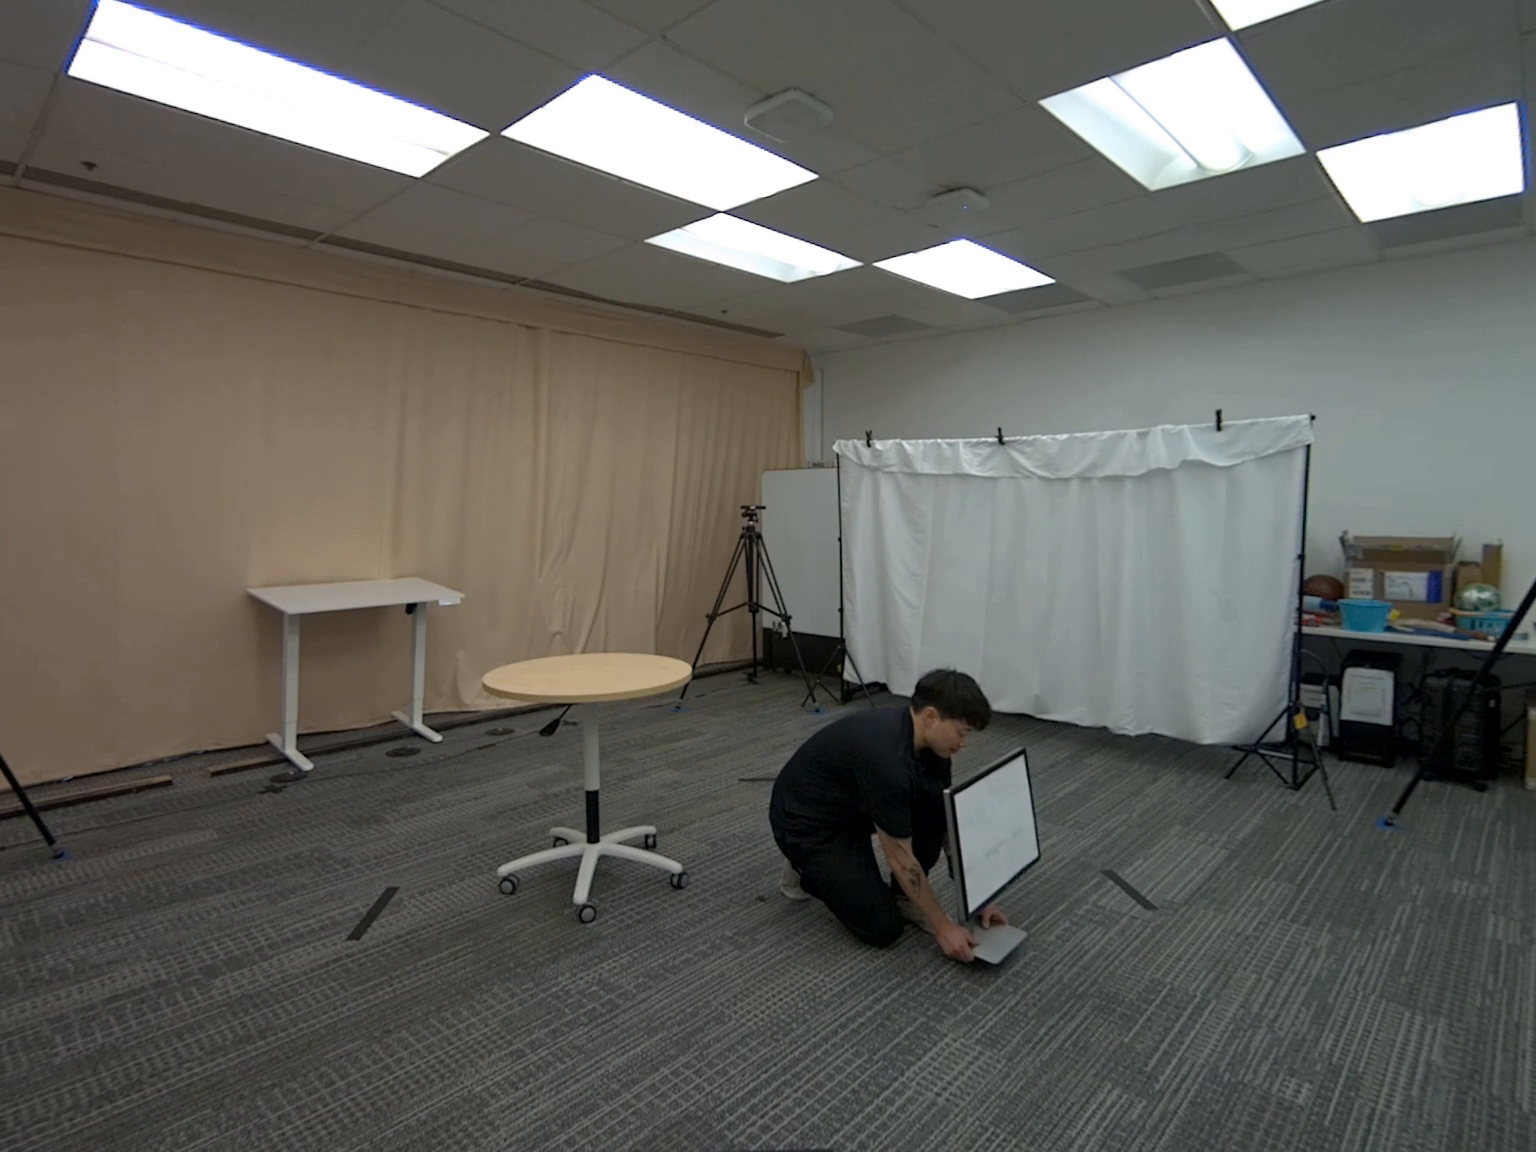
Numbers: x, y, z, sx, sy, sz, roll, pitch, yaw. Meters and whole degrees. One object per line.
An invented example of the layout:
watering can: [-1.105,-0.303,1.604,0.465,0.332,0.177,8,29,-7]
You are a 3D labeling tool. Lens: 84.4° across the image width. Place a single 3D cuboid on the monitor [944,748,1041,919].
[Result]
monitor: [0.685,0.860,2.573,0.193,0.521,0.523,7,7,37]
